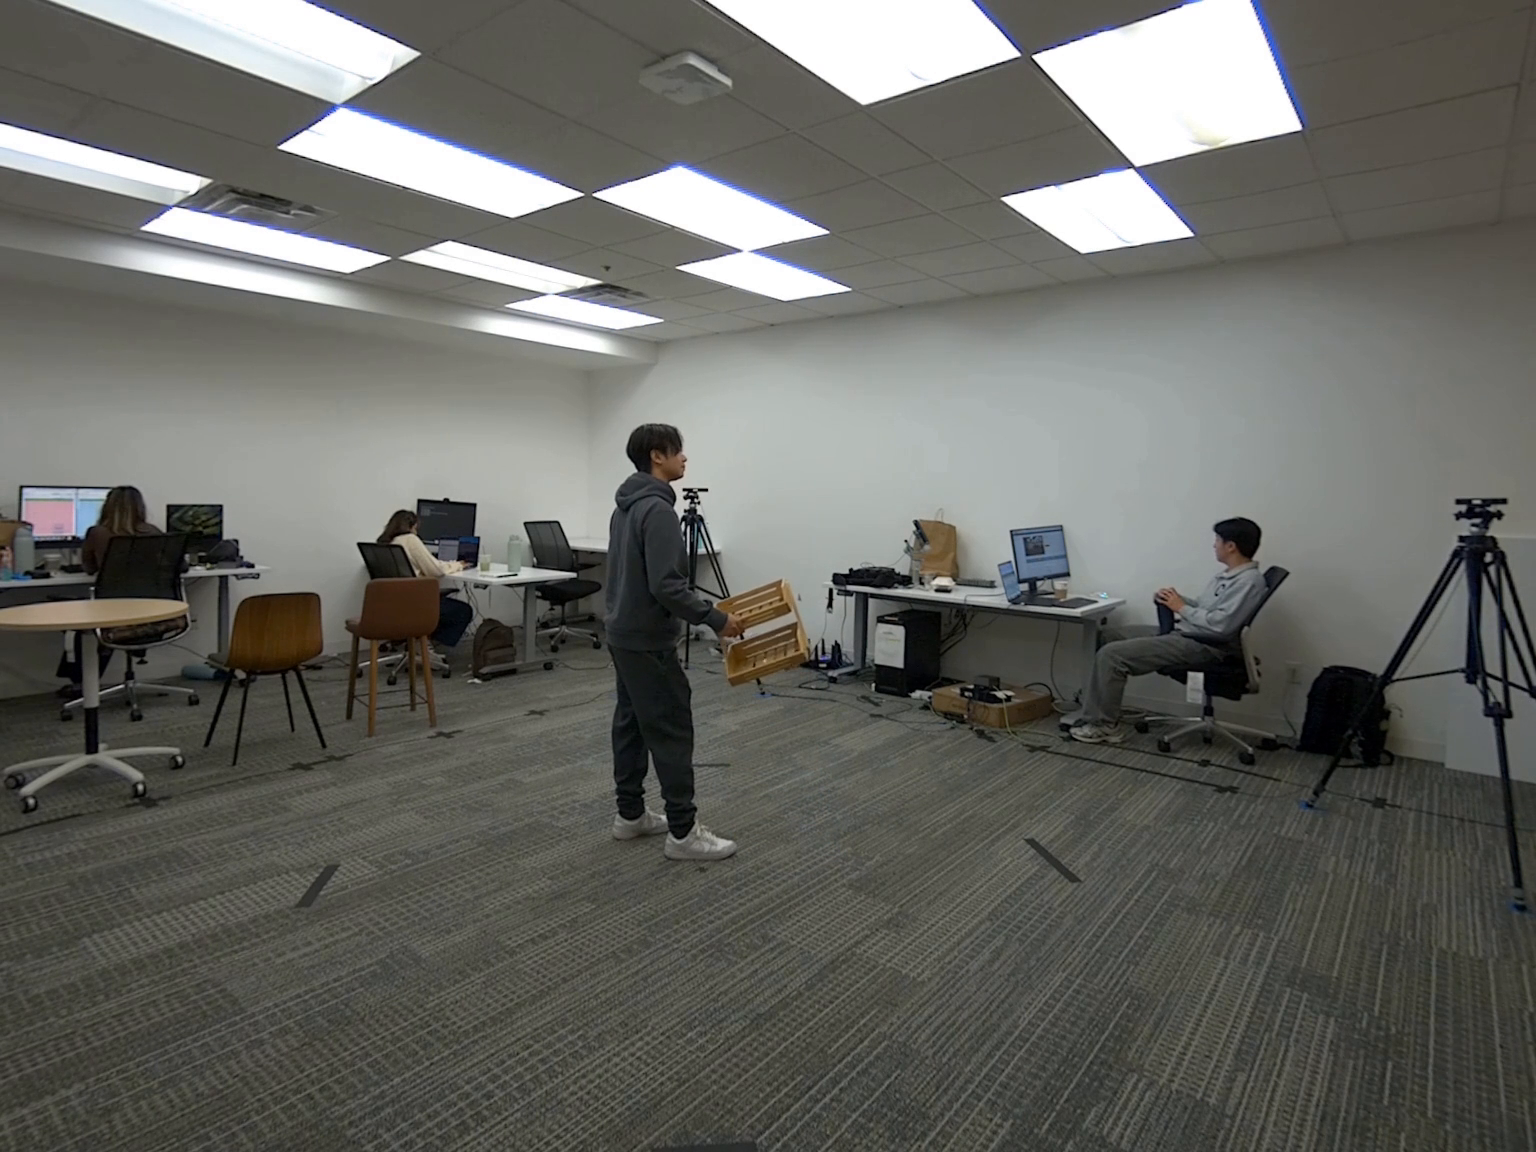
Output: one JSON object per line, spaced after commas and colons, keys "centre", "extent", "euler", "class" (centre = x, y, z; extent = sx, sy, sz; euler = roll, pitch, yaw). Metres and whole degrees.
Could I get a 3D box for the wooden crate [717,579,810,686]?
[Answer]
{"centre": [-0.045, 0.209, 3.218], "extent": [0.327, 0.270, 0.304], "euler": [-20, 12, 11], "class": "wooden crate"}
